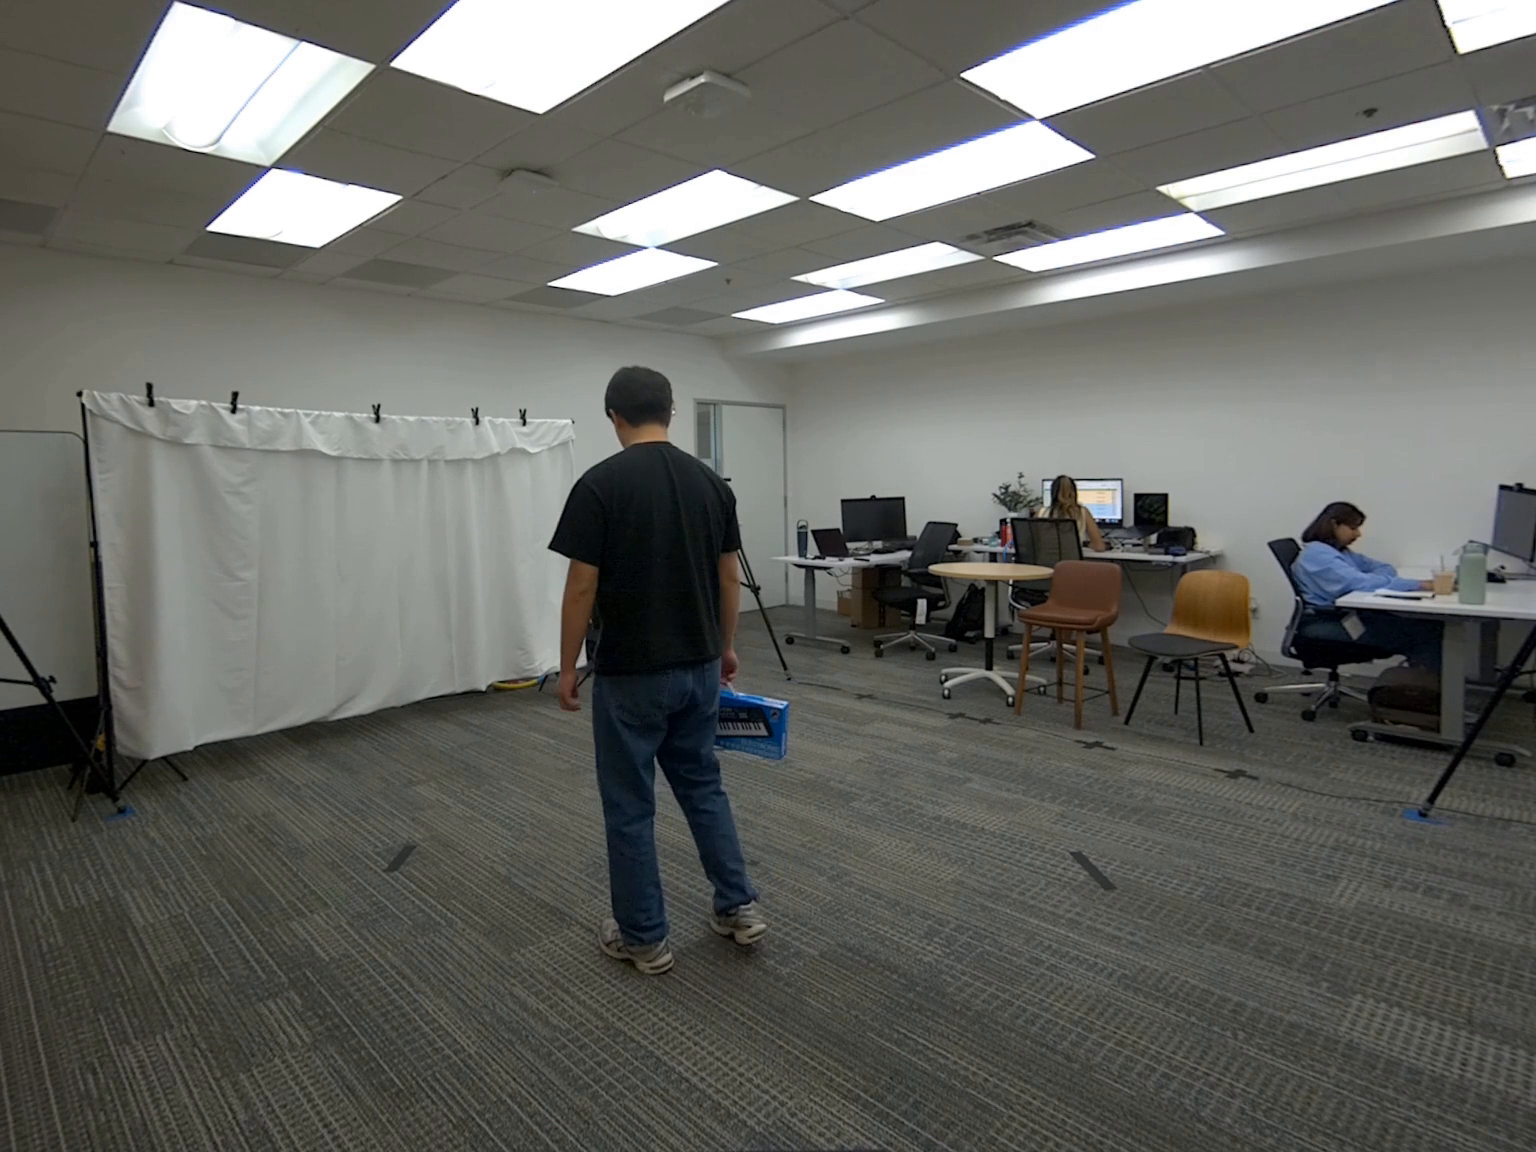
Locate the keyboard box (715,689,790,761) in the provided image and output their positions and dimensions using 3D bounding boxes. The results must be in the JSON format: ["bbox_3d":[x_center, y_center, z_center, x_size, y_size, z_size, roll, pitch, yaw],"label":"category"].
[{"bbox_3d":[-0.151,0.457,2.749,0.447,0.174,0.058,7,10,23],"label":"keyboard box"}]
